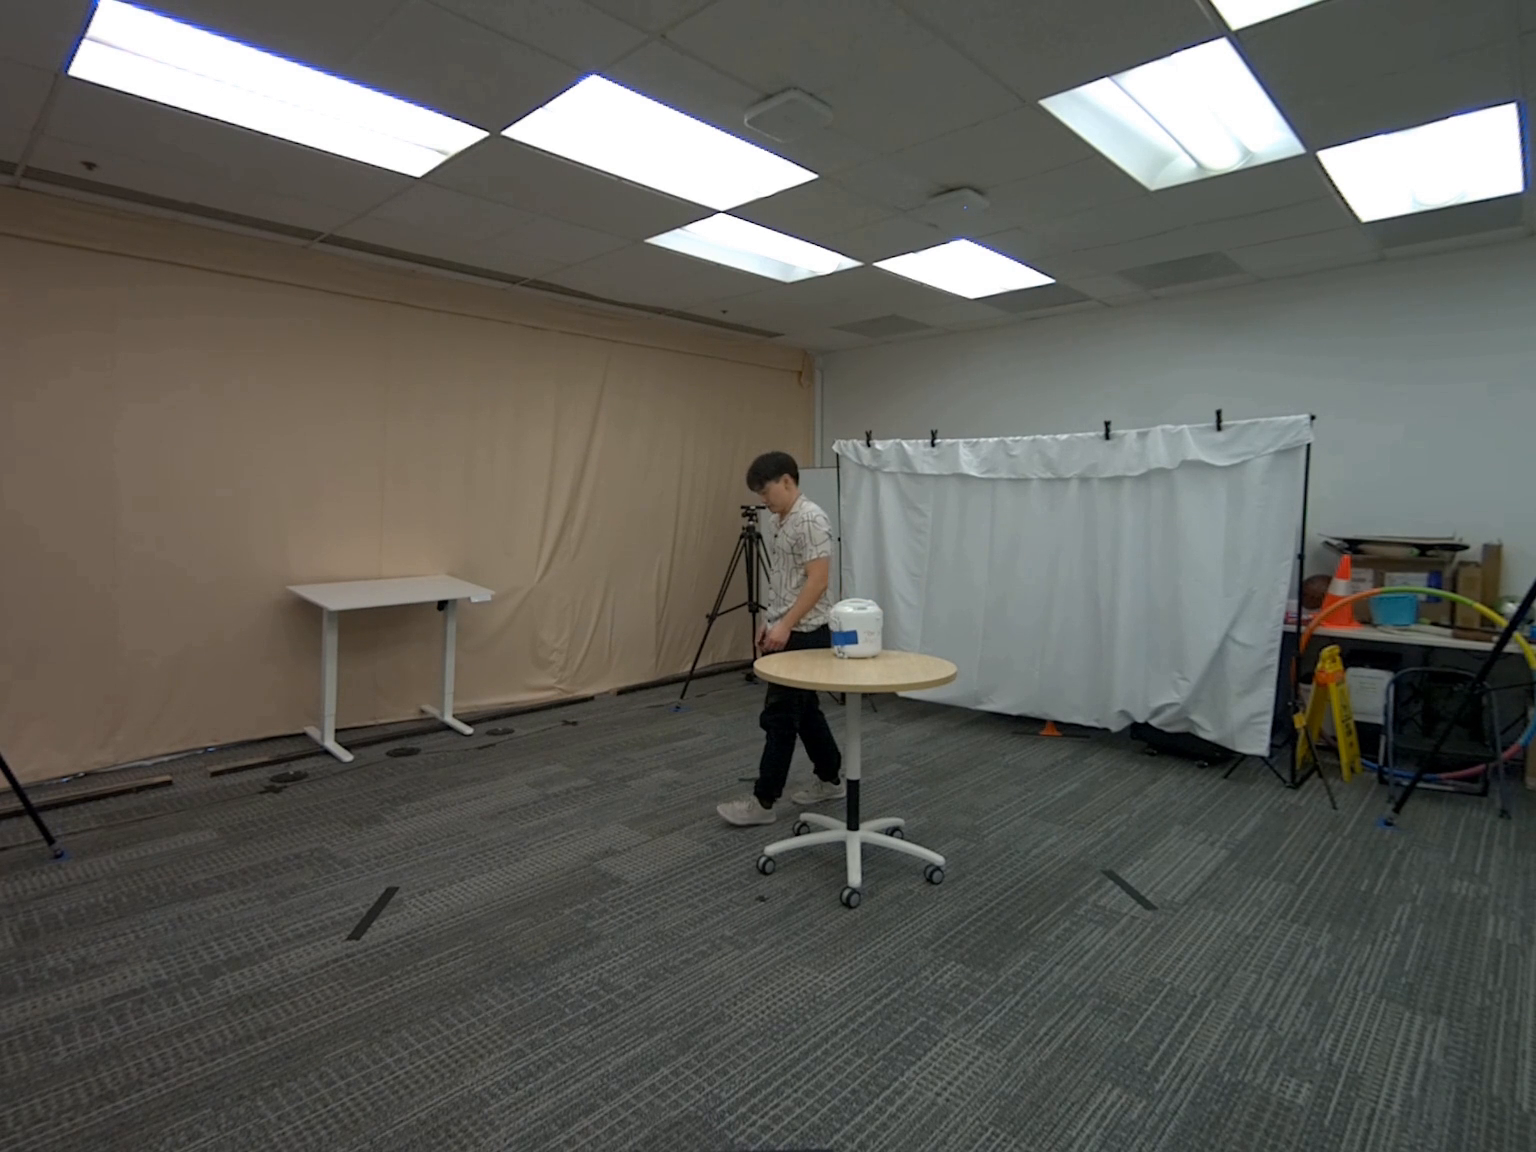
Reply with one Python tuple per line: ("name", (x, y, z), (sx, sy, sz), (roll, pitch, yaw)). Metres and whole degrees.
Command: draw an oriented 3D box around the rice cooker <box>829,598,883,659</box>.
("rice cooker", (0.362, 0.209, 3.437), (0.221, 0.232, 0.217), (0, 4, 2))
